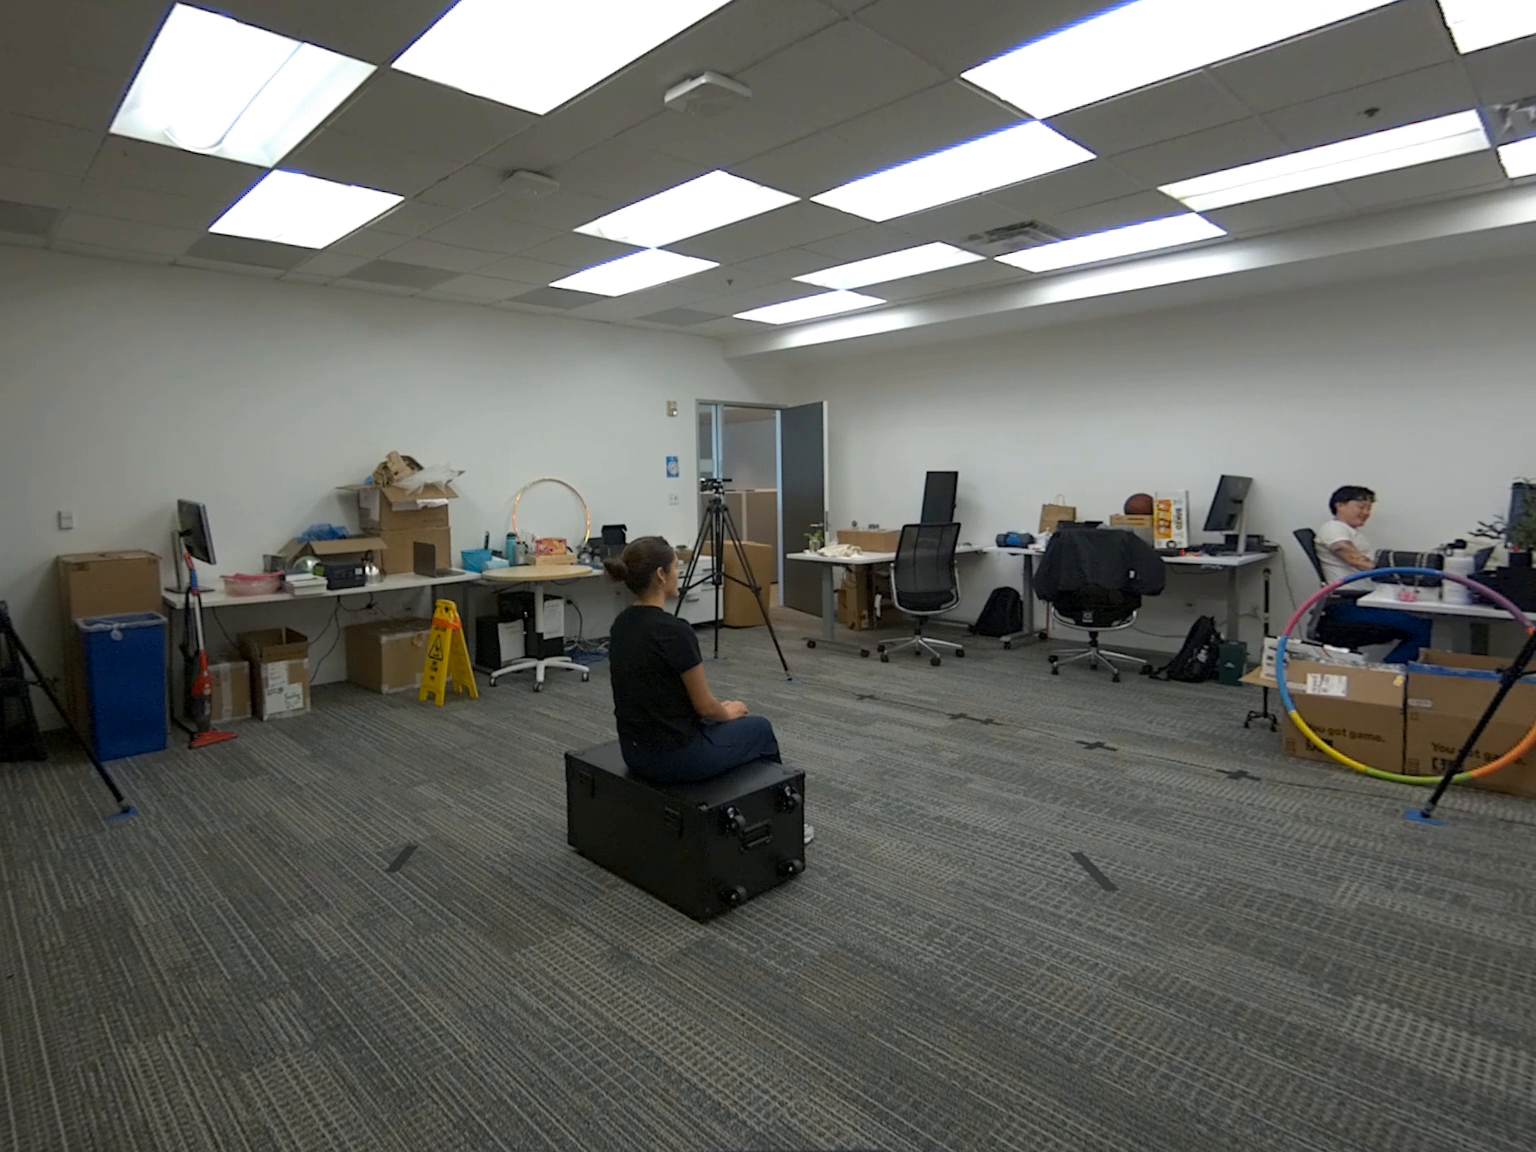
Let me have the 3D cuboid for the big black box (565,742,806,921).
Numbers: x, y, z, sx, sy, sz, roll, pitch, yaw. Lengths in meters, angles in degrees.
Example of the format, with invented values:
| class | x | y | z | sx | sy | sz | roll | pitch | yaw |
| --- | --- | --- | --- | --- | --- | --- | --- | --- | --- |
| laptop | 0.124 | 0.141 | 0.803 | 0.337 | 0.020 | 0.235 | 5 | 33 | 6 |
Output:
| class | x | y | z | sx | sy | sz | roll | pitch | yaw |
| --- | --- | --- | --- | --- | --- | --- | --- | --- | --- |
| big black box | -0.297 | 0.864 | 3.092 | 0.508 | 0.394 | 0.888 | -7 | 8 | -44 |
